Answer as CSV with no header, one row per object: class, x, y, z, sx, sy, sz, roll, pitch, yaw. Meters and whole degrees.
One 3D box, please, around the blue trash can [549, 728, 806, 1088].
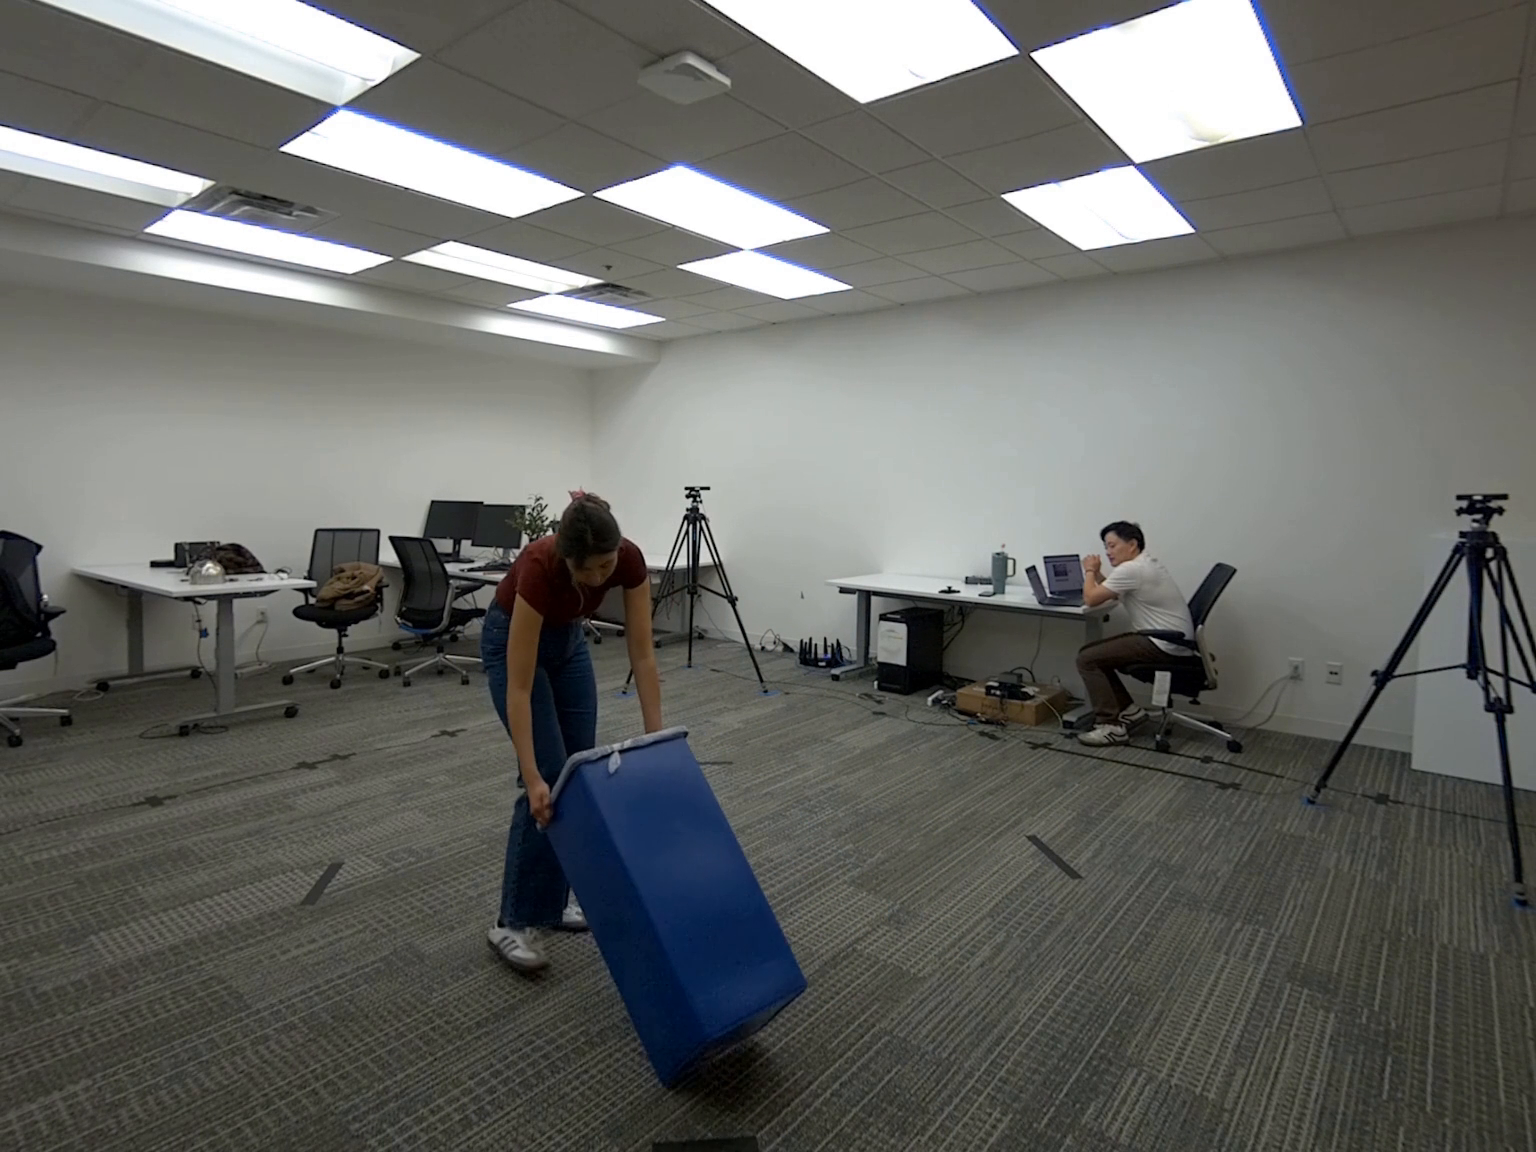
blue trash can,-0.271,0.814,2.178,0.367,0.371,0.740,-5,49,-38
